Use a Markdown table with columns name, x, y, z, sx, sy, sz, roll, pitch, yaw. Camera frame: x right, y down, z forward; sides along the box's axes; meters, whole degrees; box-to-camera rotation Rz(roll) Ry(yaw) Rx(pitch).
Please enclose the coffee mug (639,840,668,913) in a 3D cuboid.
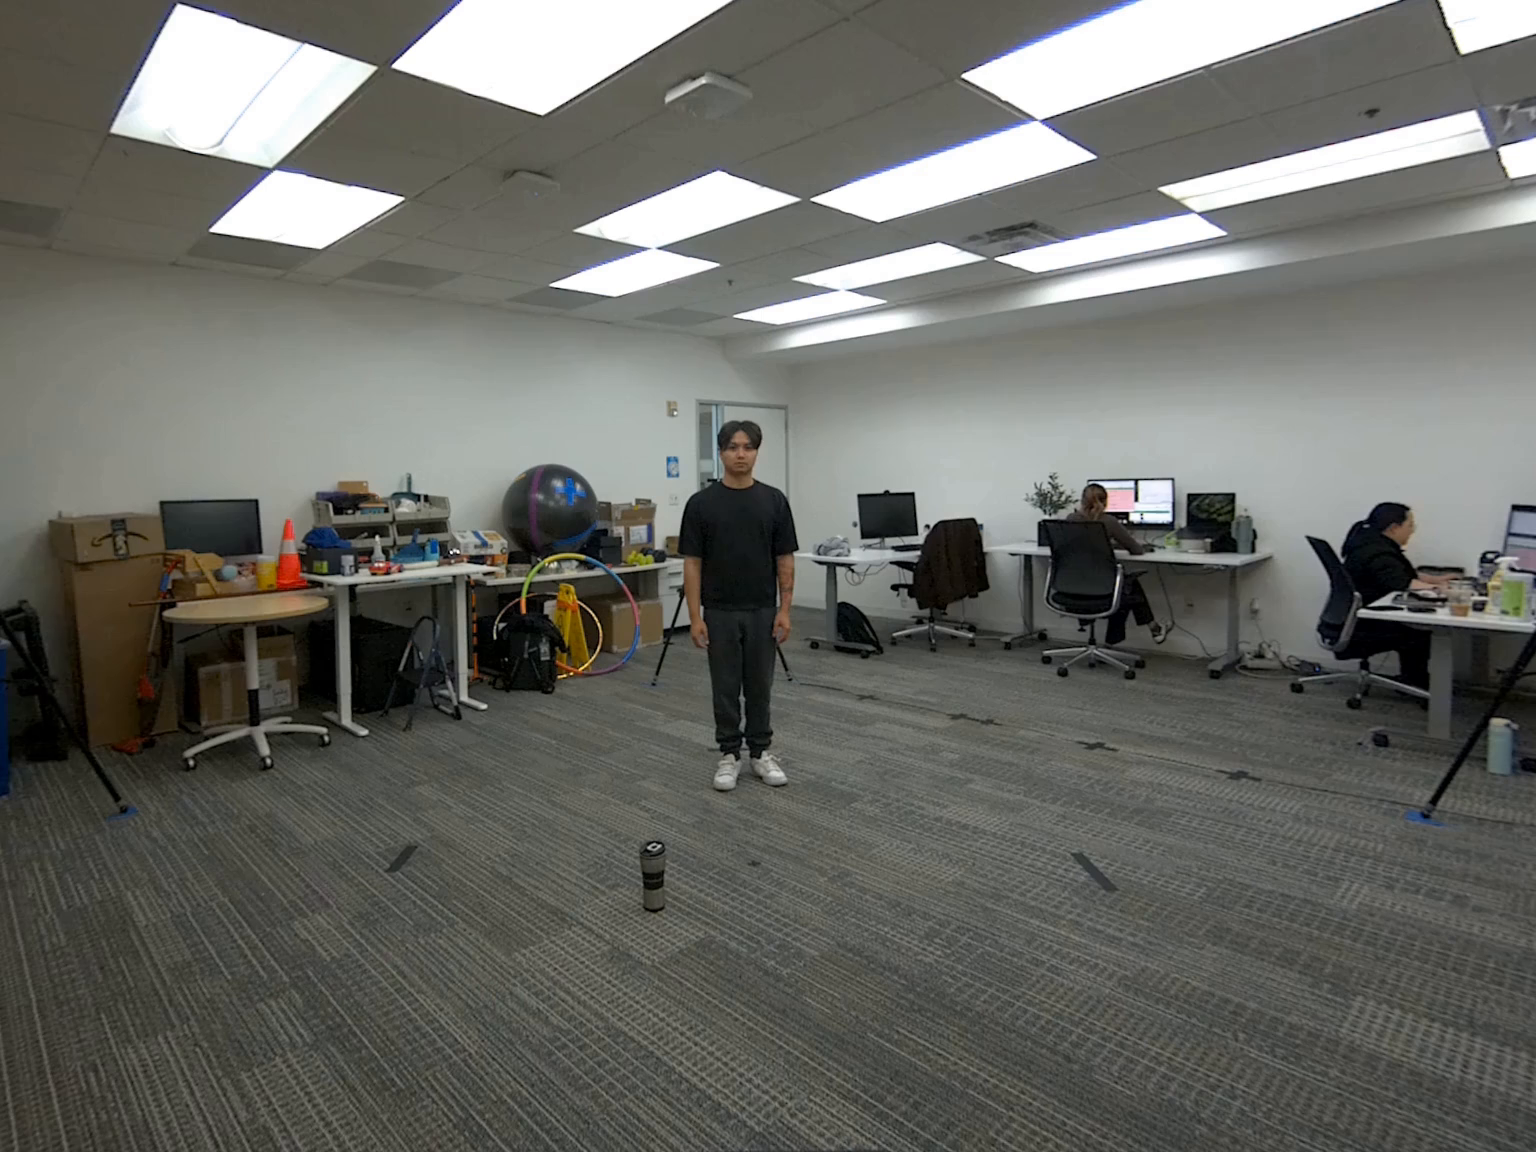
| name | x | y | z | sx | sy | sz | roll | pitch | yaw |
| --- | --- | --- | --- | --- | --- | --- | --- | --- | --- |
| coffee mug | -0.356 | 0.986 | 2.804 | 0.090 | 0.202 | 0.119 | 0 | 9 | 45 |
